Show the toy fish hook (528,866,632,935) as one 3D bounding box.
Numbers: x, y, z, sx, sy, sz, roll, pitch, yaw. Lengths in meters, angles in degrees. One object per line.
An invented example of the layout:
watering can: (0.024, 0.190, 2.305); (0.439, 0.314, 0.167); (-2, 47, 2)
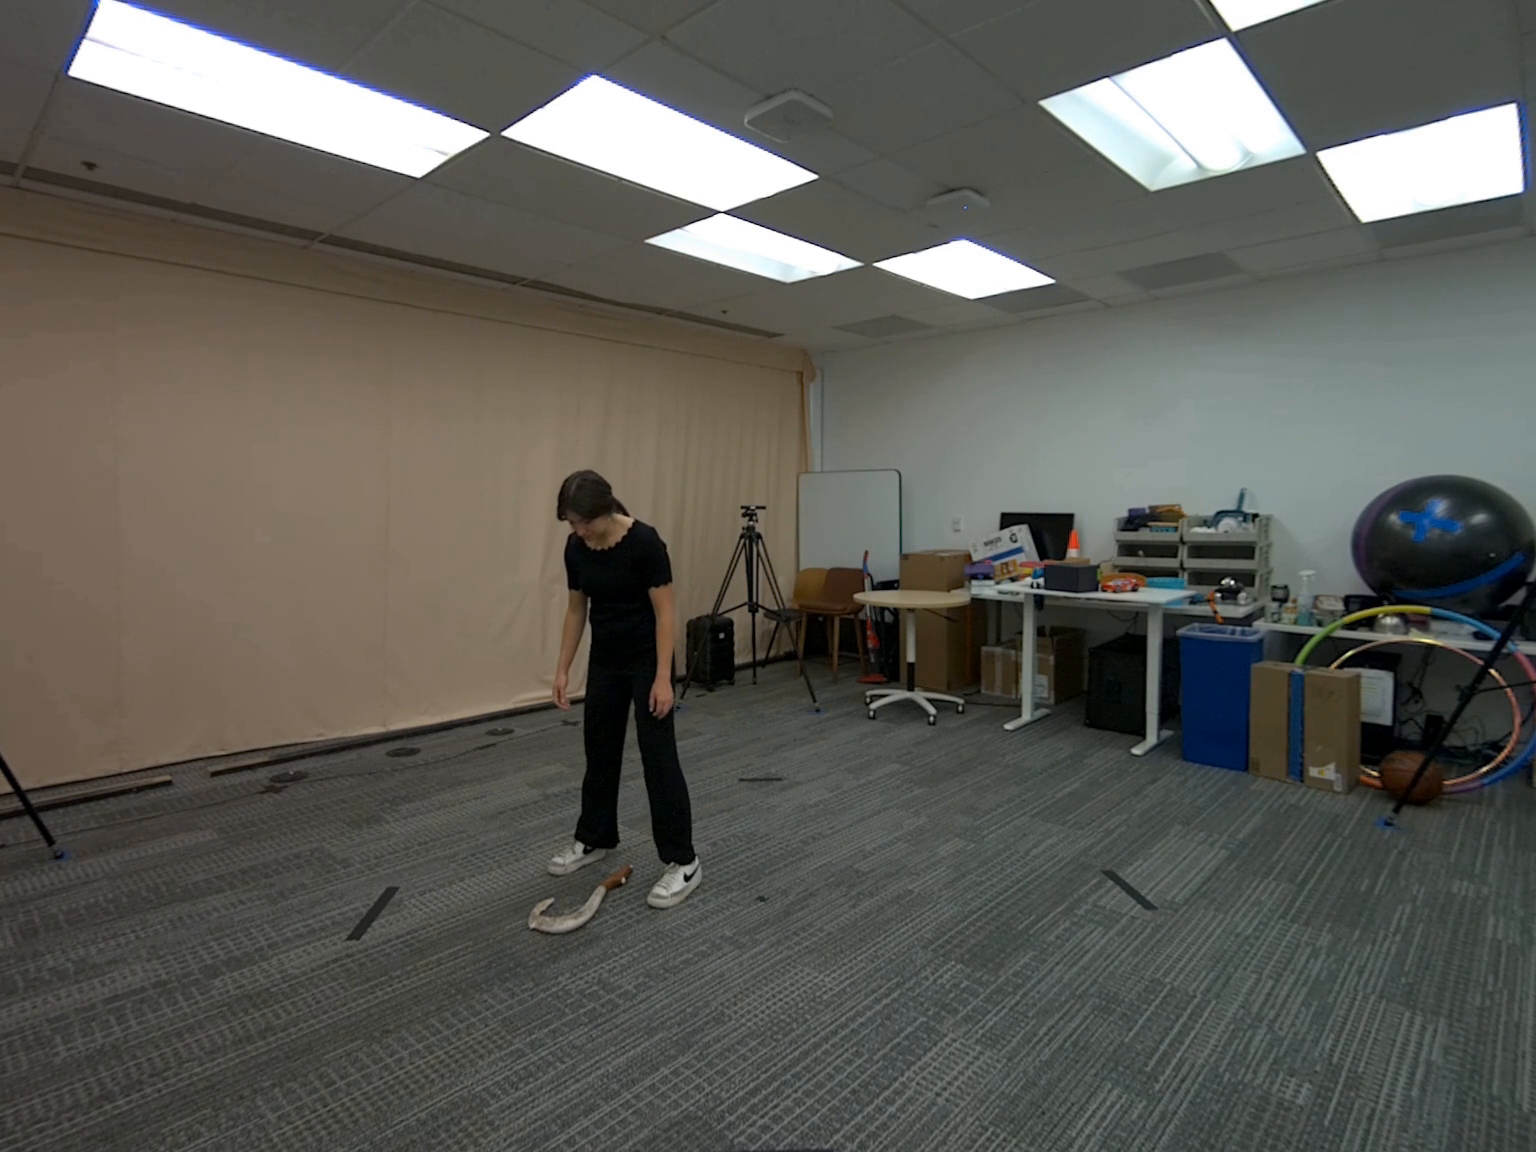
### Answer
toy fish hook: (-0.653, 1.124, 2.975); (0.230, 0.048, 0.496); (4, 5, 21)
